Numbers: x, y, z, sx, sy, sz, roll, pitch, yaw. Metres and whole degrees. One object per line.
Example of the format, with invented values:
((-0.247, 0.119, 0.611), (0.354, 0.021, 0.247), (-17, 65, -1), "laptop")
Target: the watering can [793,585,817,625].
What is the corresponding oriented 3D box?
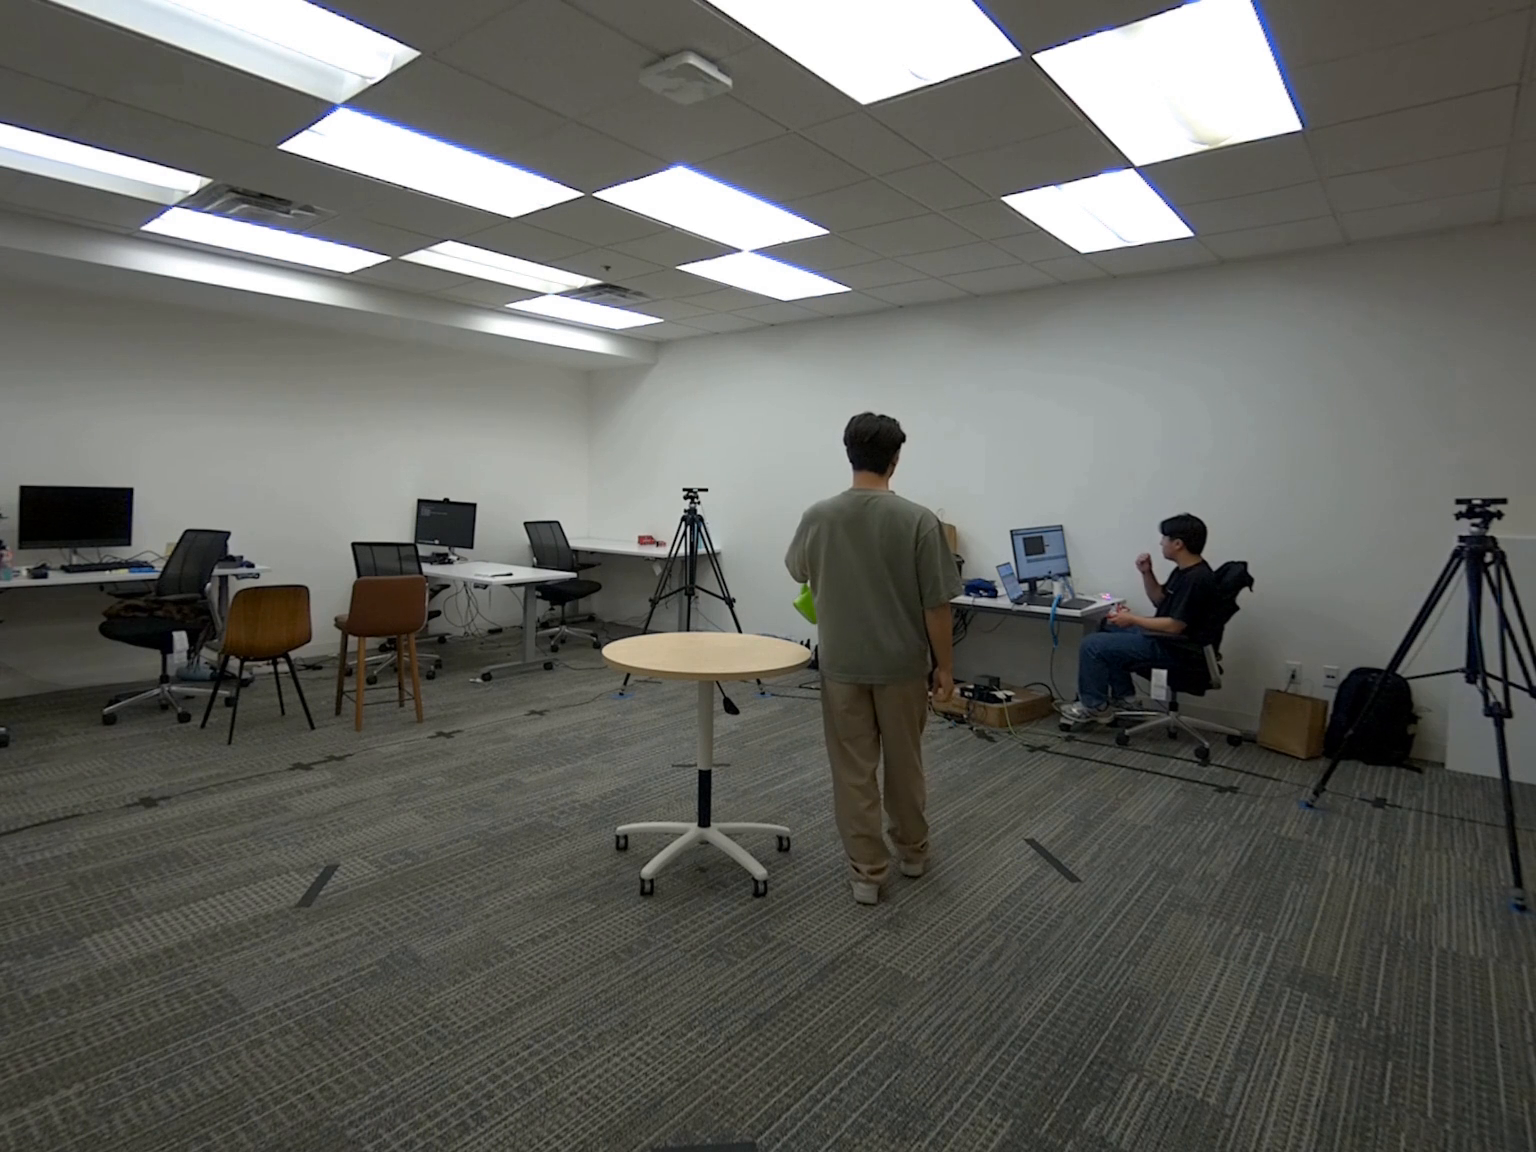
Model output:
((0.226, 0.118, 3.435), (0.279, 0.177, 0.097), (42, -10, 3), "watering can")
